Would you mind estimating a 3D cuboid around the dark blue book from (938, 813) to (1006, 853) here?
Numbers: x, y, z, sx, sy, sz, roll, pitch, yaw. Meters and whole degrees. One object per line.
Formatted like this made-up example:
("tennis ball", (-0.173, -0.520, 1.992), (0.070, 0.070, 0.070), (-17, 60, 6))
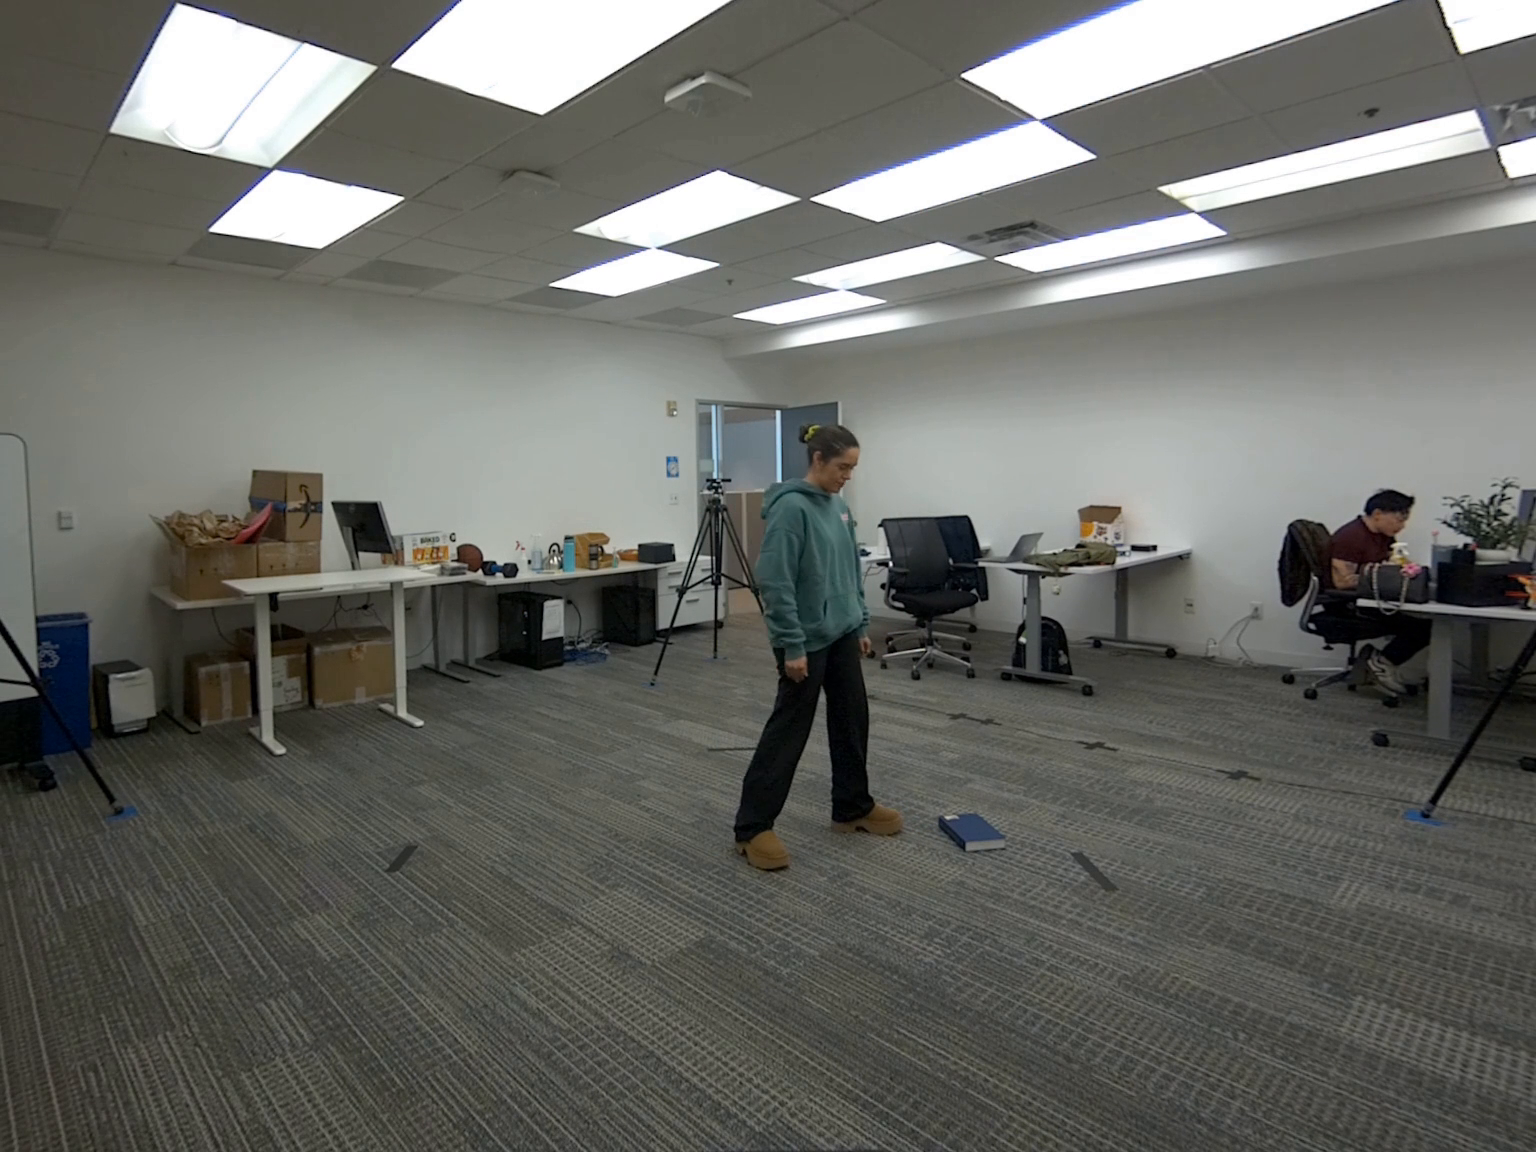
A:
("dark blue book", (0.778, 0.978, 3.291), (0.162, 0.045, 0.248), (-2, 6, -11))
